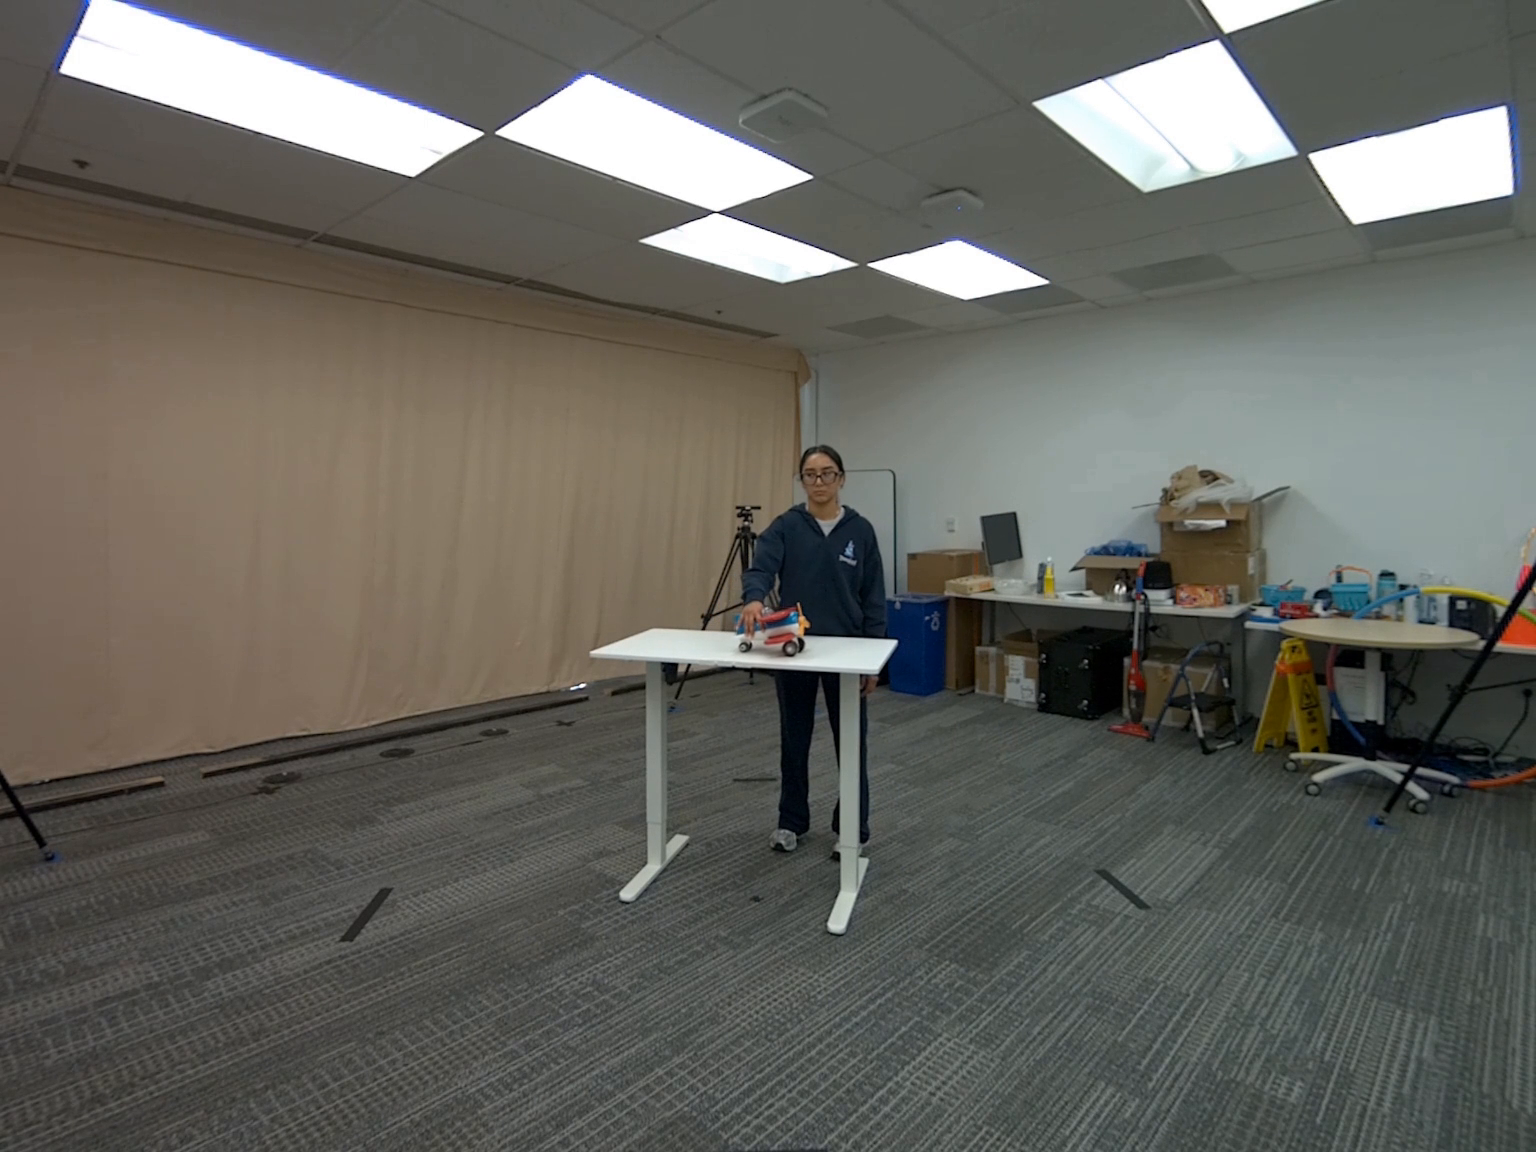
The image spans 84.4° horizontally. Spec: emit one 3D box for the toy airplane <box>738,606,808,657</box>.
[{"bbox_3d":[0.018,0.191,2.910,0.257,0.156,0.254,0,4,-9],"label":"toy airplane"}]
